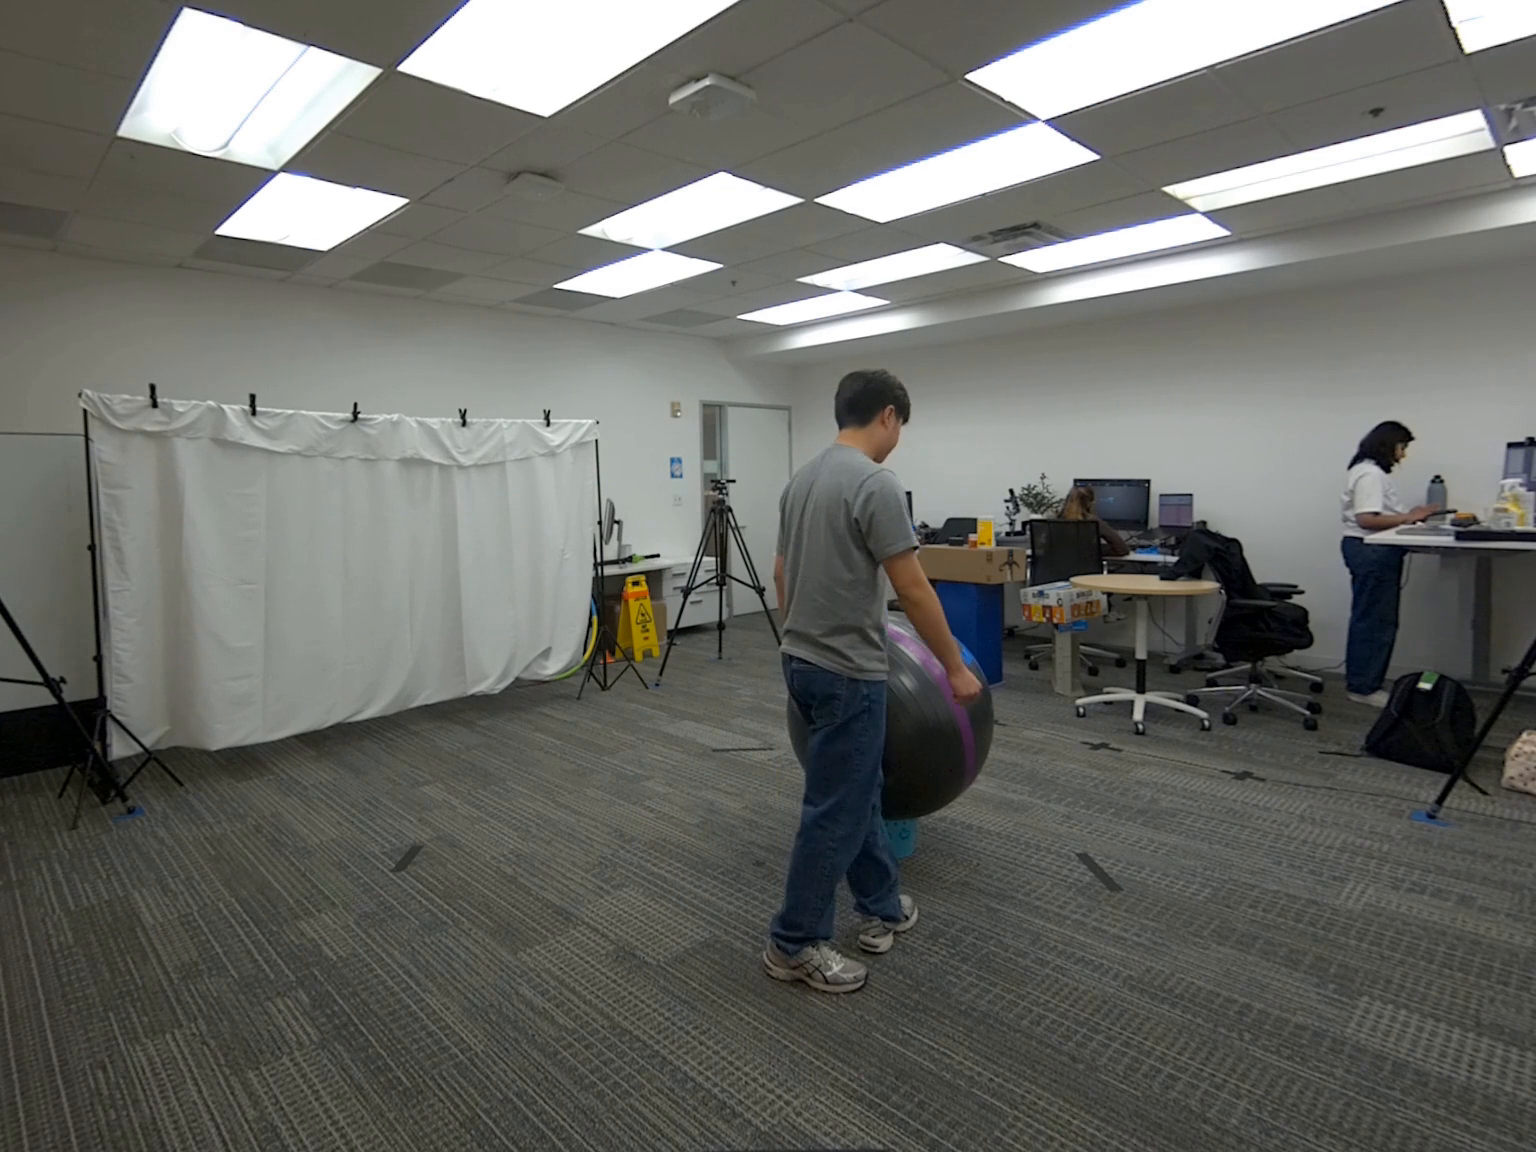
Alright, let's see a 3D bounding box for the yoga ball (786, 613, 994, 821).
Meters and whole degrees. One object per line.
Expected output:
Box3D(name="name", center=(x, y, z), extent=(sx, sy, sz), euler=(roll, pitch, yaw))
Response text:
Box3D(name="yoga ball", center=(0.453, 0.518, 3.189), extent=(0.757, 0.755, 0.762), euler=(-1, 5, -2))
